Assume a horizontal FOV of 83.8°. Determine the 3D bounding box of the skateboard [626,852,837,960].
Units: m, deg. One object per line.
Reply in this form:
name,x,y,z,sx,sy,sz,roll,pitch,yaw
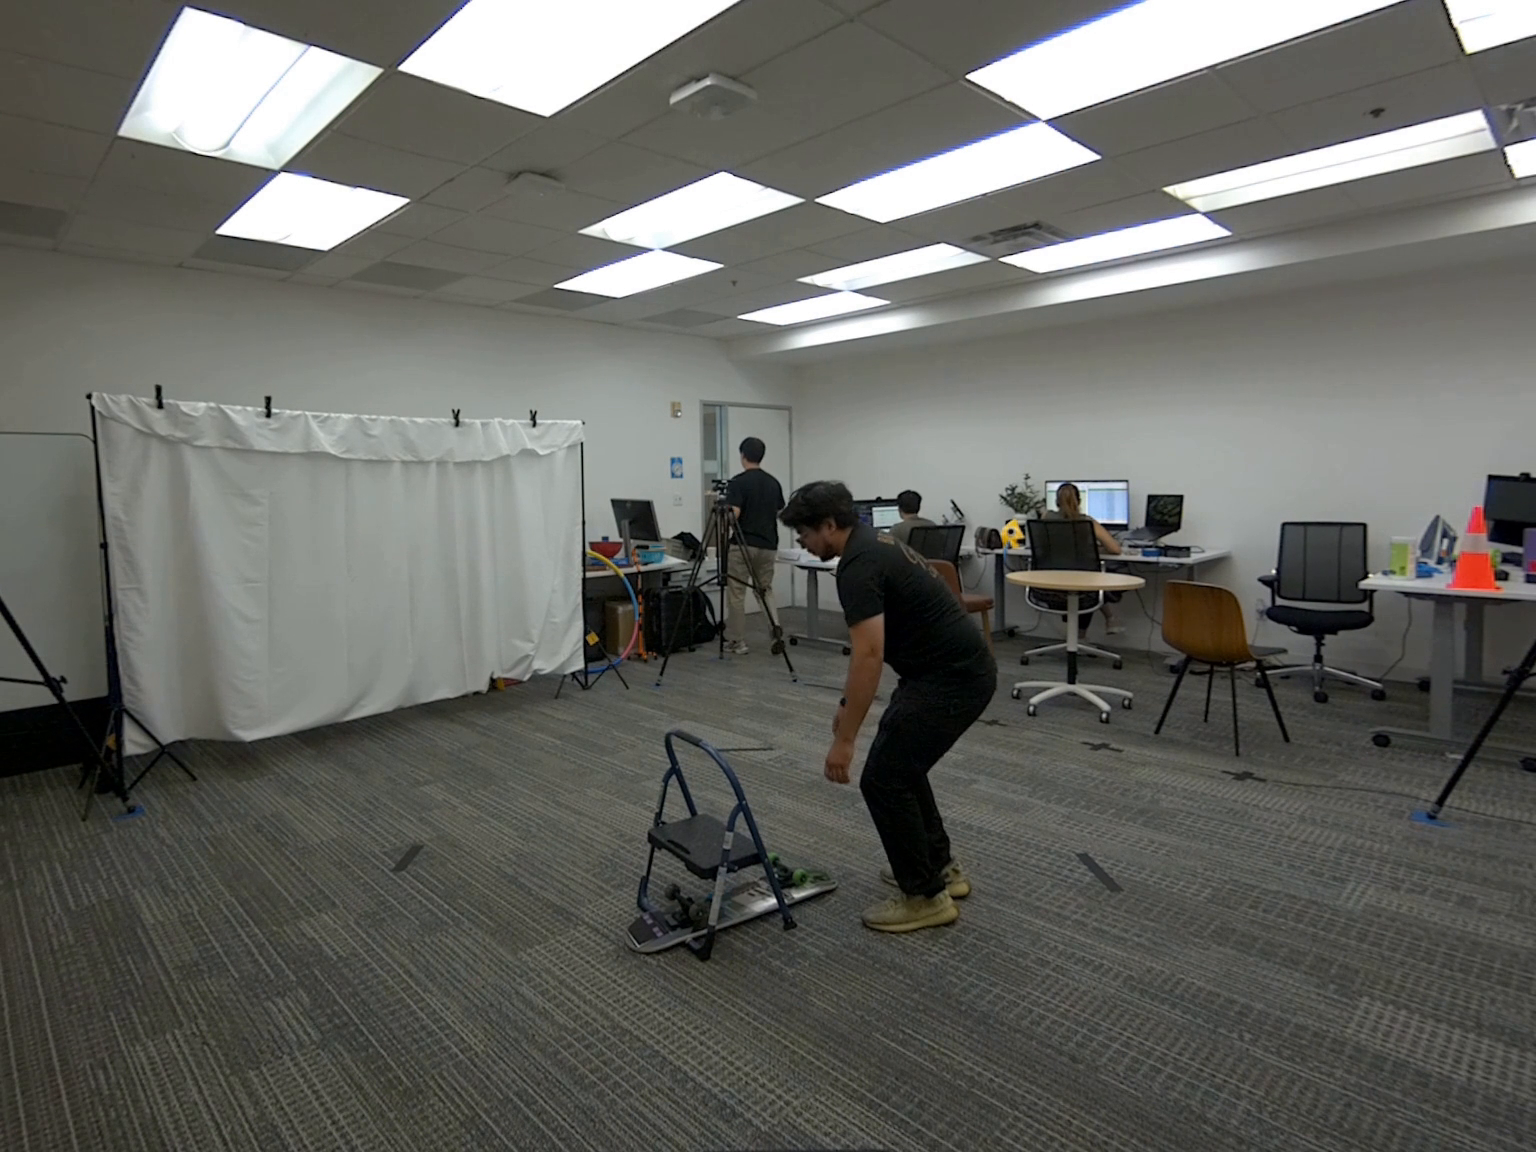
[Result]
skateboard,-0.084,1.040,2.762,0.765,0.110,0.199,-5,6,-36
